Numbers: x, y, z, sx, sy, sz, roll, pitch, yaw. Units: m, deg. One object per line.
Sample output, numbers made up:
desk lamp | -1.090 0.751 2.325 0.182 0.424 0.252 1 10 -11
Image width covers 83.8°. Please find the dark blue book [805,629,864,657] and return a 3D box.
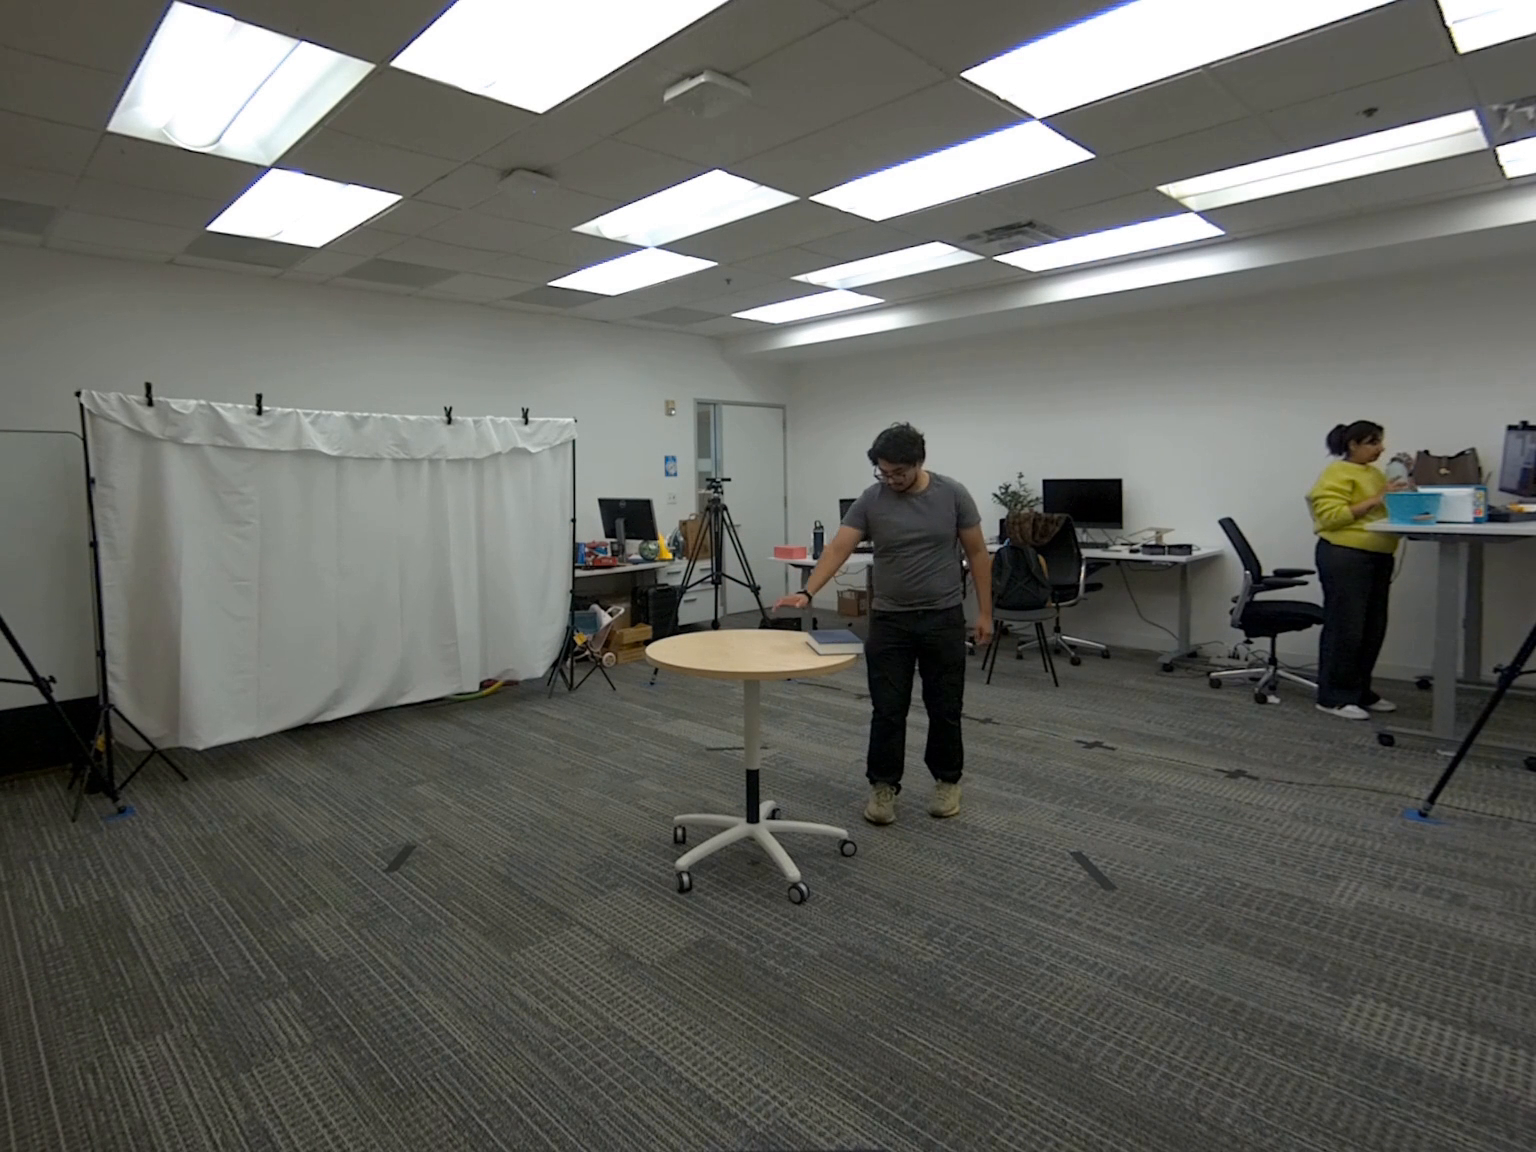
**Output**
dark blue book | 0.248 0.241 3.082 0.162 0.045 0.248 -1 7 -8
